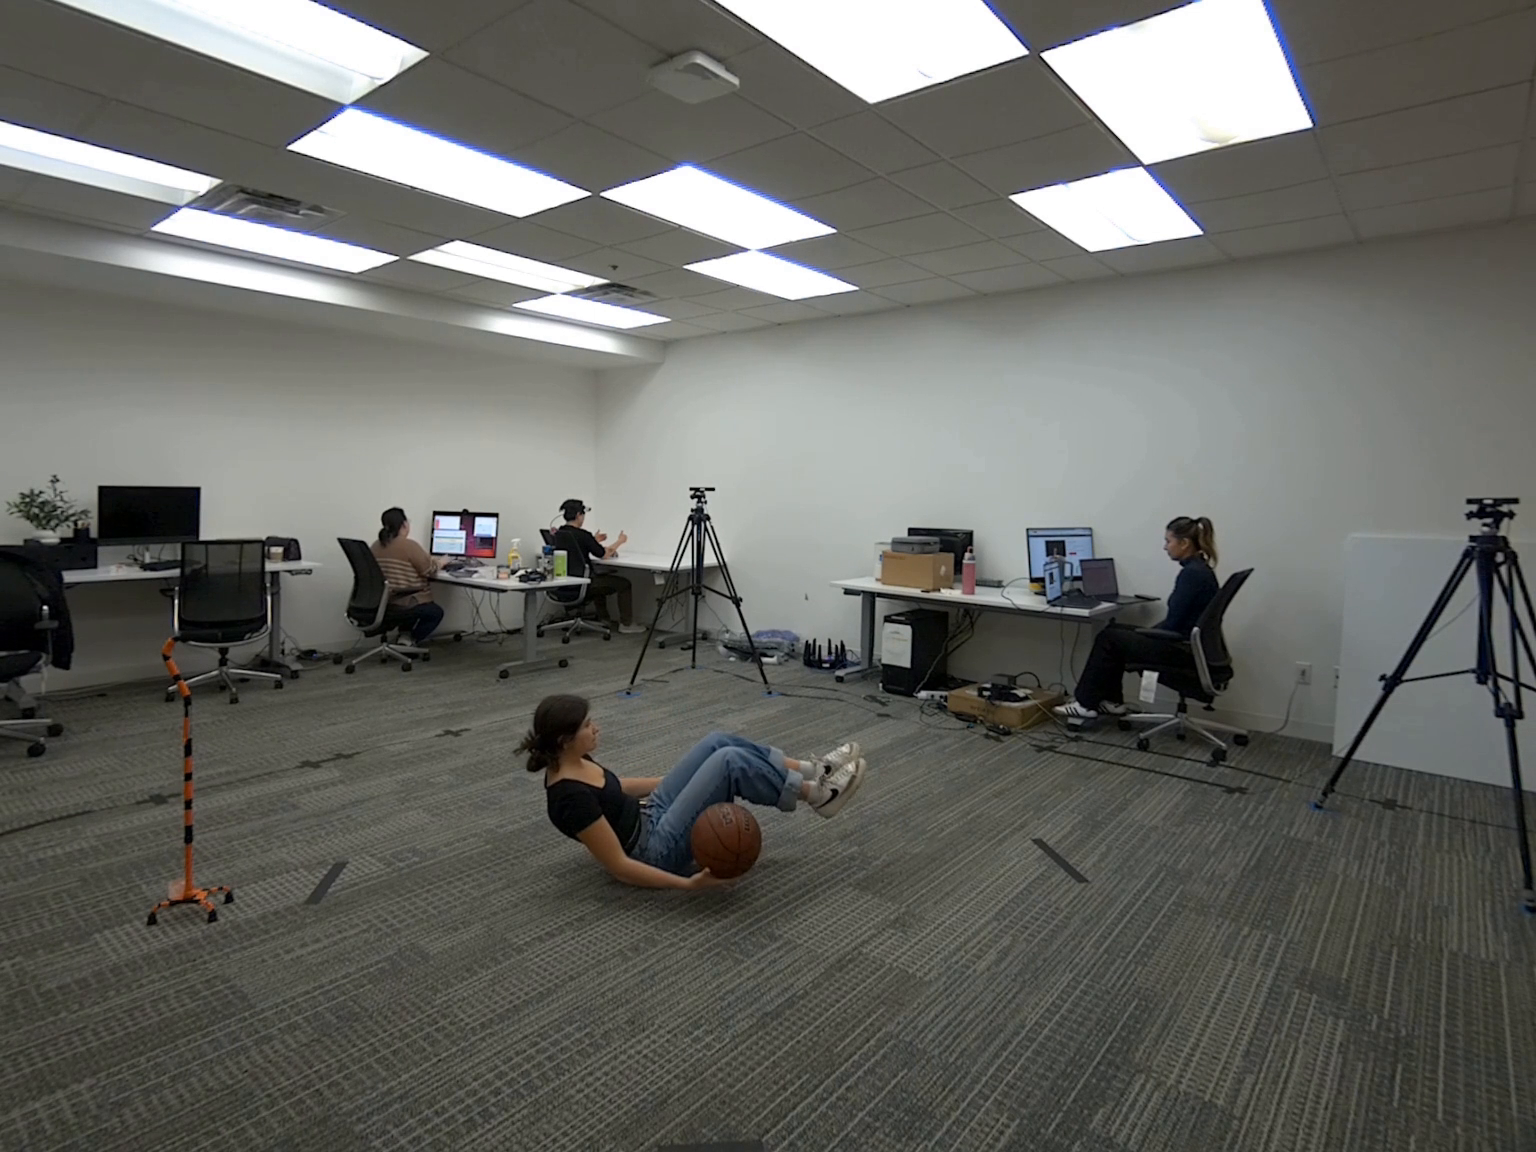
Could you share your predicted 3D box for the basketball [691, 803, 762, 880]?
[{"bbox_3d":[-0.158,0.871,2.848,0.235,0.235,0.237,1,4,-2],"label":"basketball"}]
